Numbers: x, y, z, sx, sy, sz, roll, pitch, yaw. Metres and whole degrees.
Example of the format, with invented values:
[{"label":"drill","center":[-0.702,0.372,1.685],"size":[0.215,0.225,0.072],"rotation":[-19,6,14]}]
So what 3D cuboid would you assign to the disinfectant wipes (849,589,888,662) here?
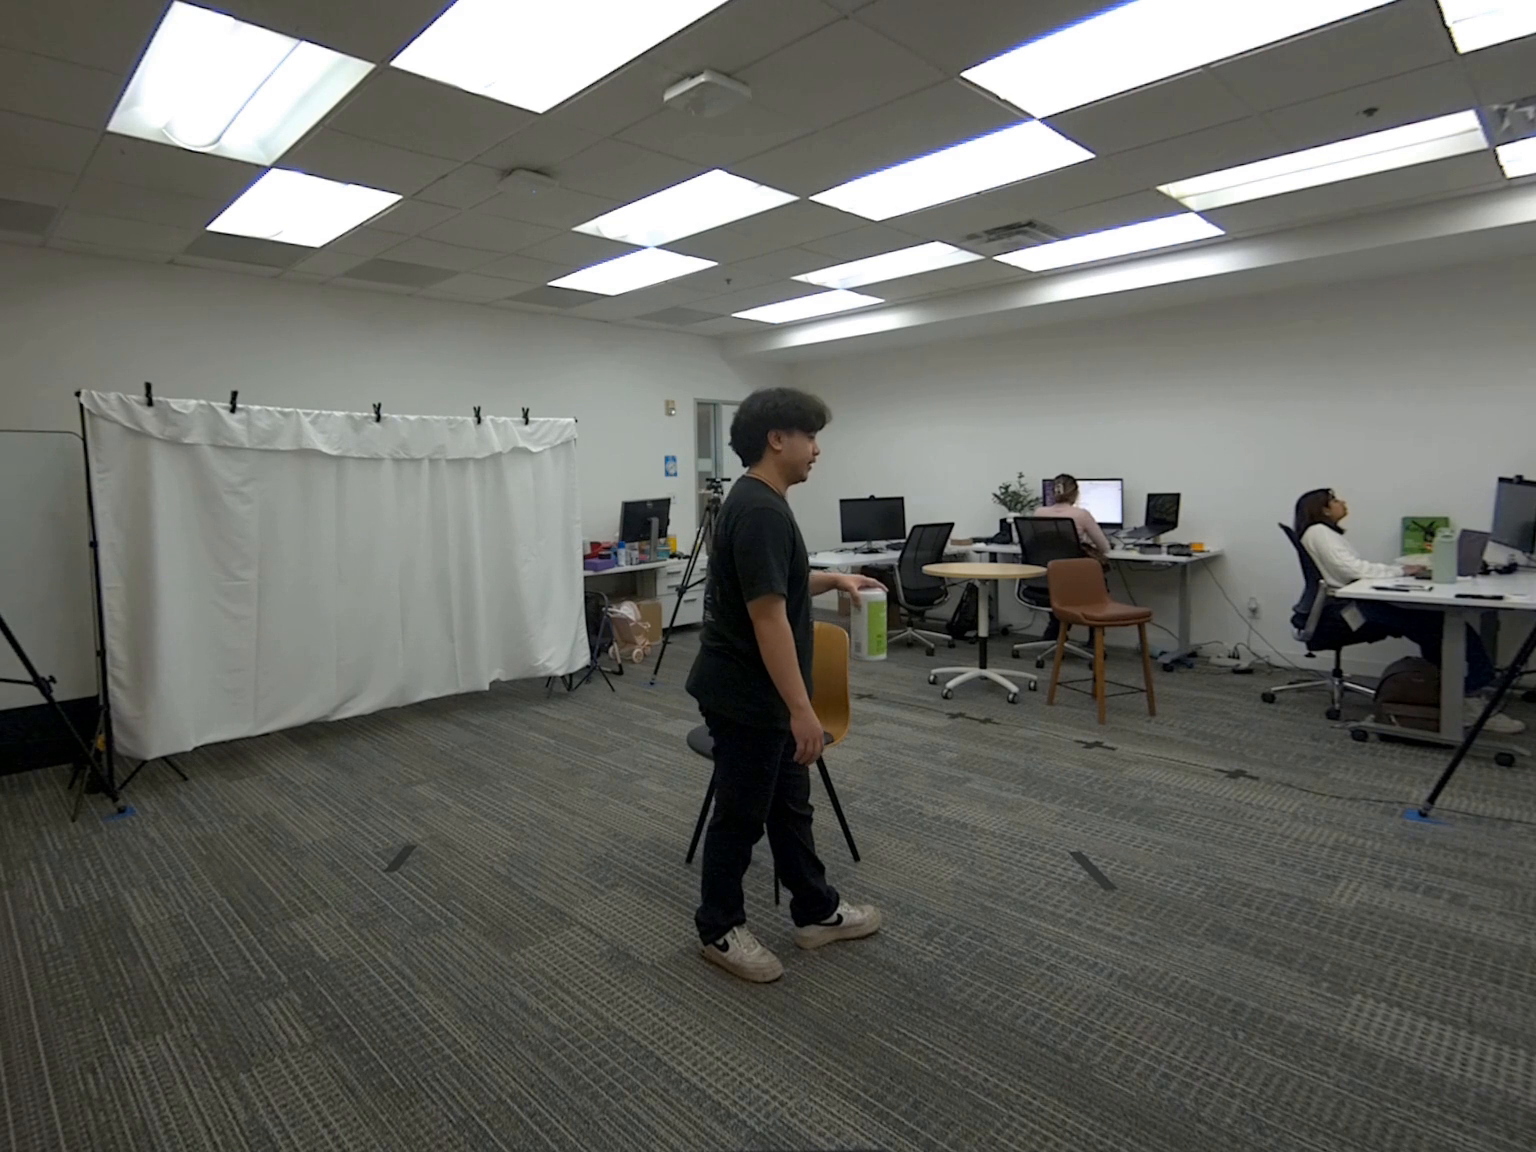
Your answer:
[{"label":"disinfectant wipes","center":[0.312,0.148,2.641],"size":[0.118,0.216,0.118],"rotation":[-3,6,-1]}]
